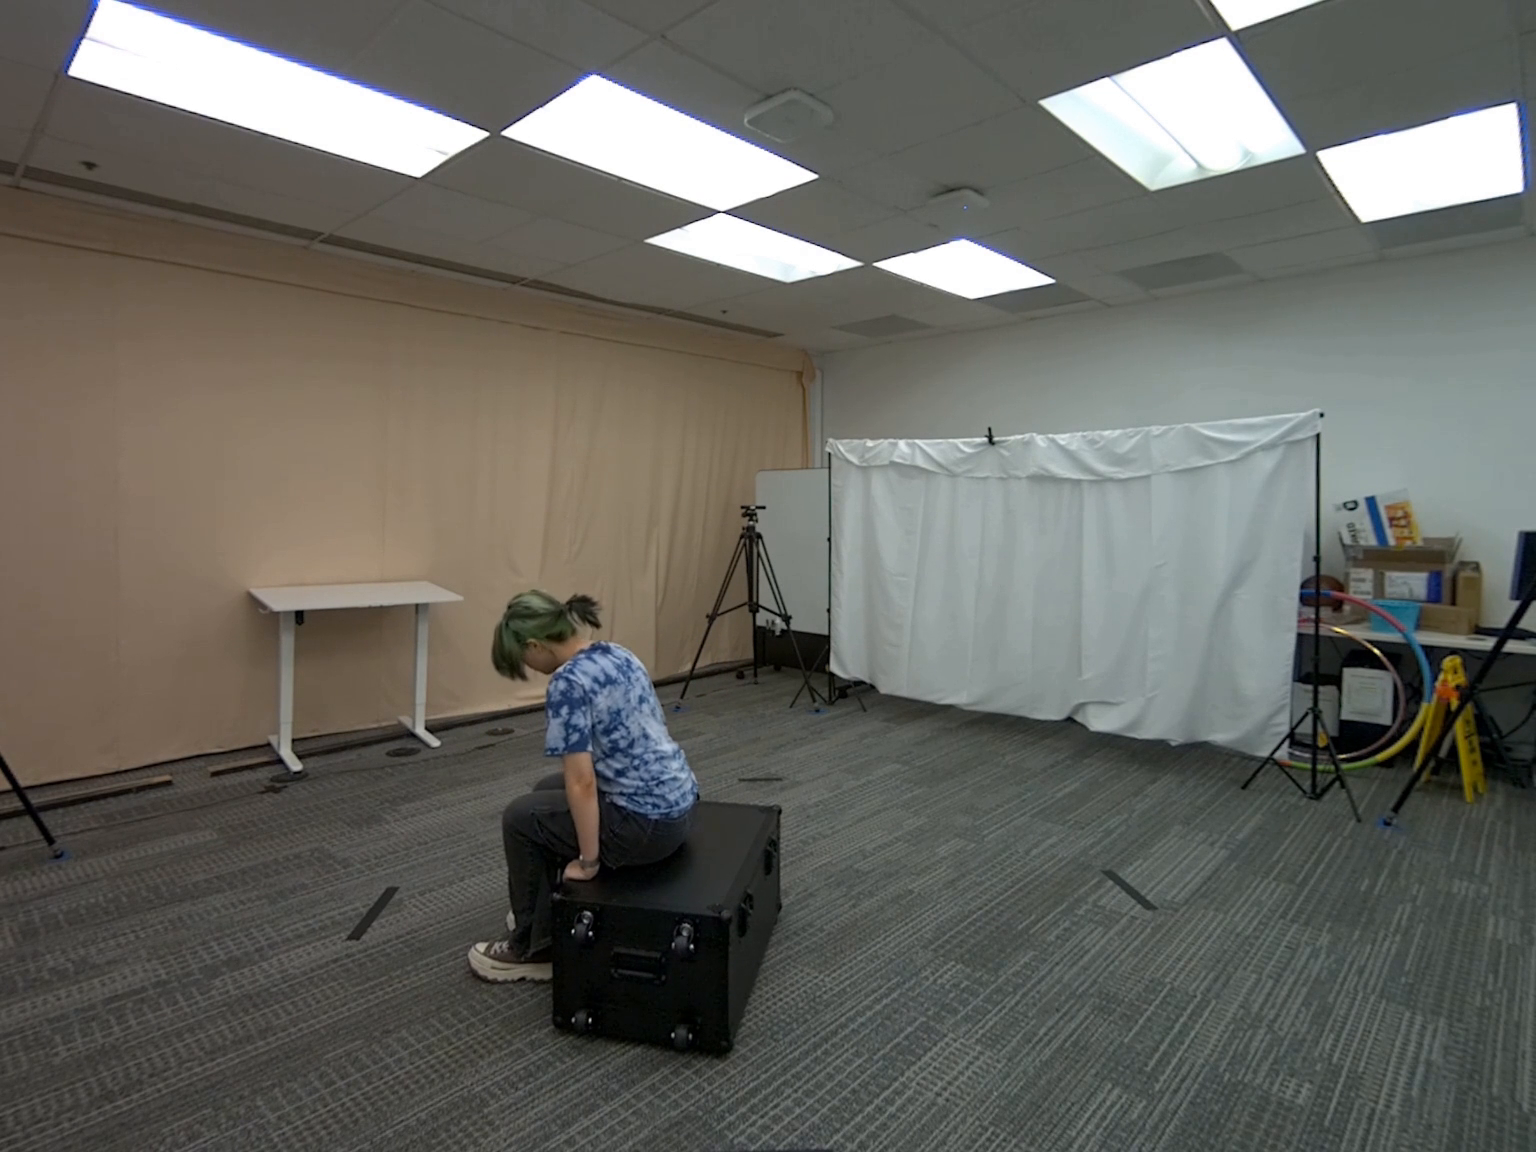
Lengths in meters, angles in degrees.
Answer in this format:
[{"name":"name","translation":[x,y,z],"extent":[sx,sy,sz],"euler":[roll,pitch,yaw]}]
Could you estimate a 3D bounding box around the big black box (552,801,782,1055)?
[{"name":"big black box","translation":[-0.264,0.993,2.496],"extent":[0.528,0.395,0.852],"euler":[1,4,11]}]
